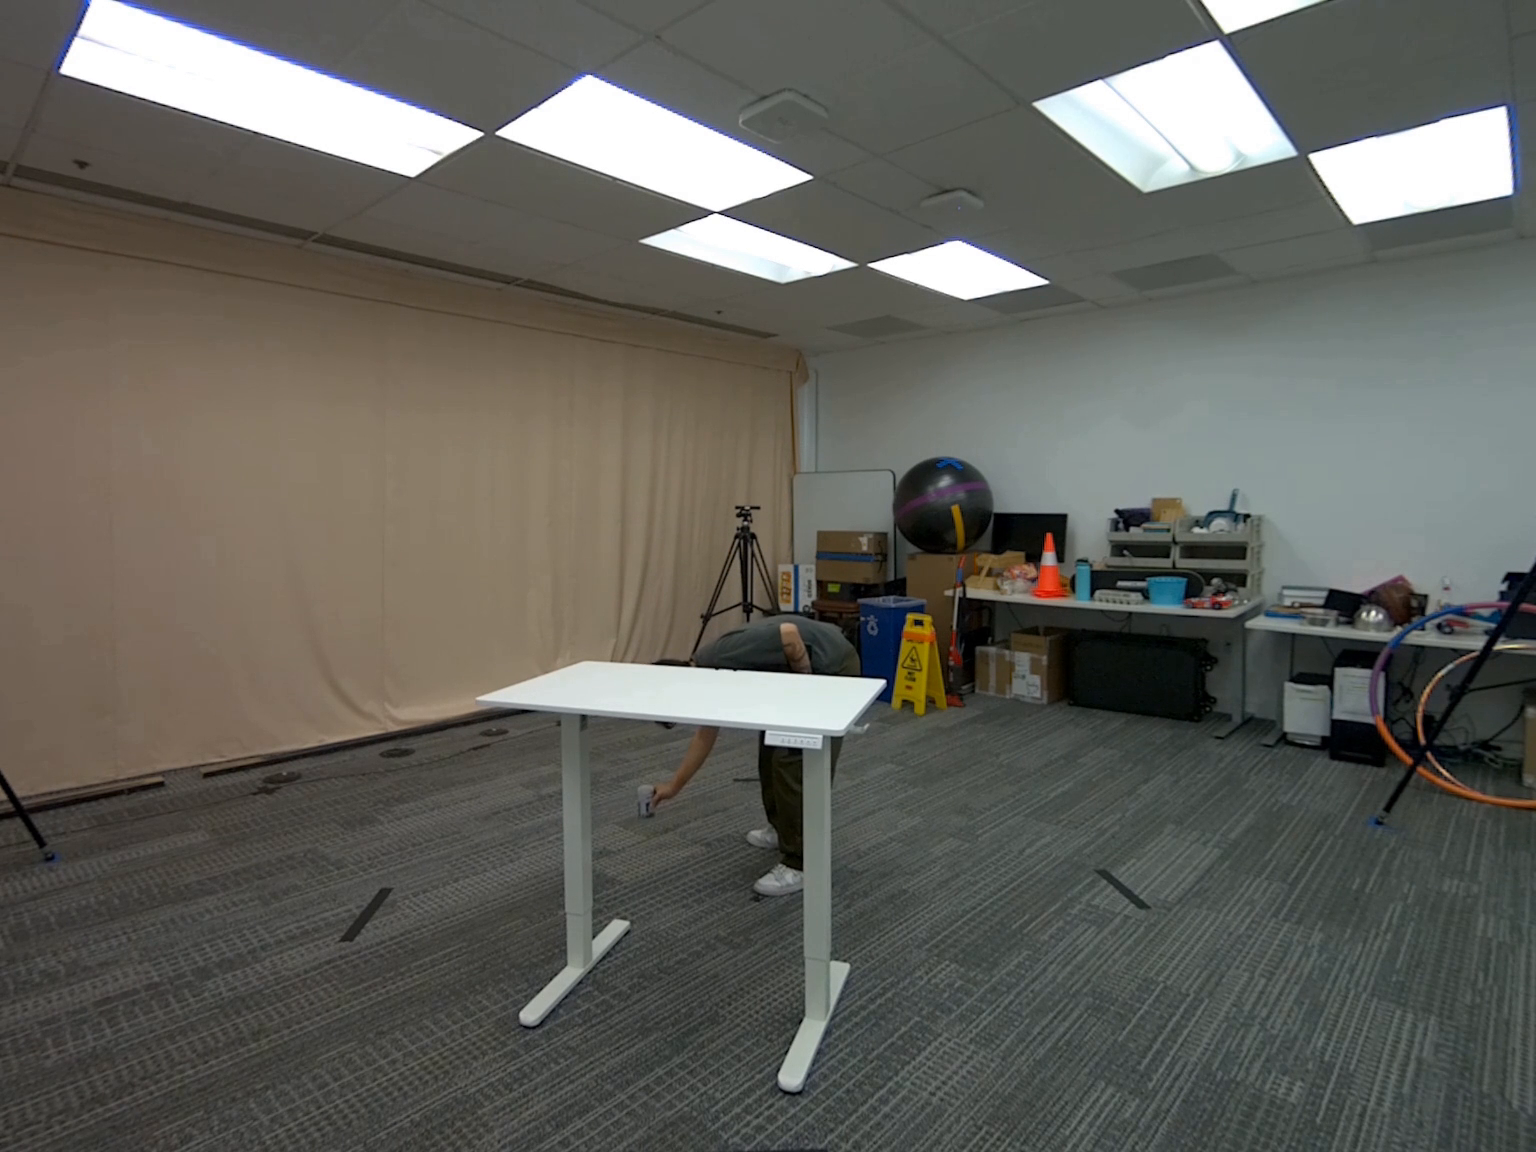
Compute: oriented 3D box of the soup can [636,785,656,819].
[{"bbox_3d":[-0.490,0.920,3.430,0.067,0.121,0.067,-5,2,-2],"label":"soup can"}]
